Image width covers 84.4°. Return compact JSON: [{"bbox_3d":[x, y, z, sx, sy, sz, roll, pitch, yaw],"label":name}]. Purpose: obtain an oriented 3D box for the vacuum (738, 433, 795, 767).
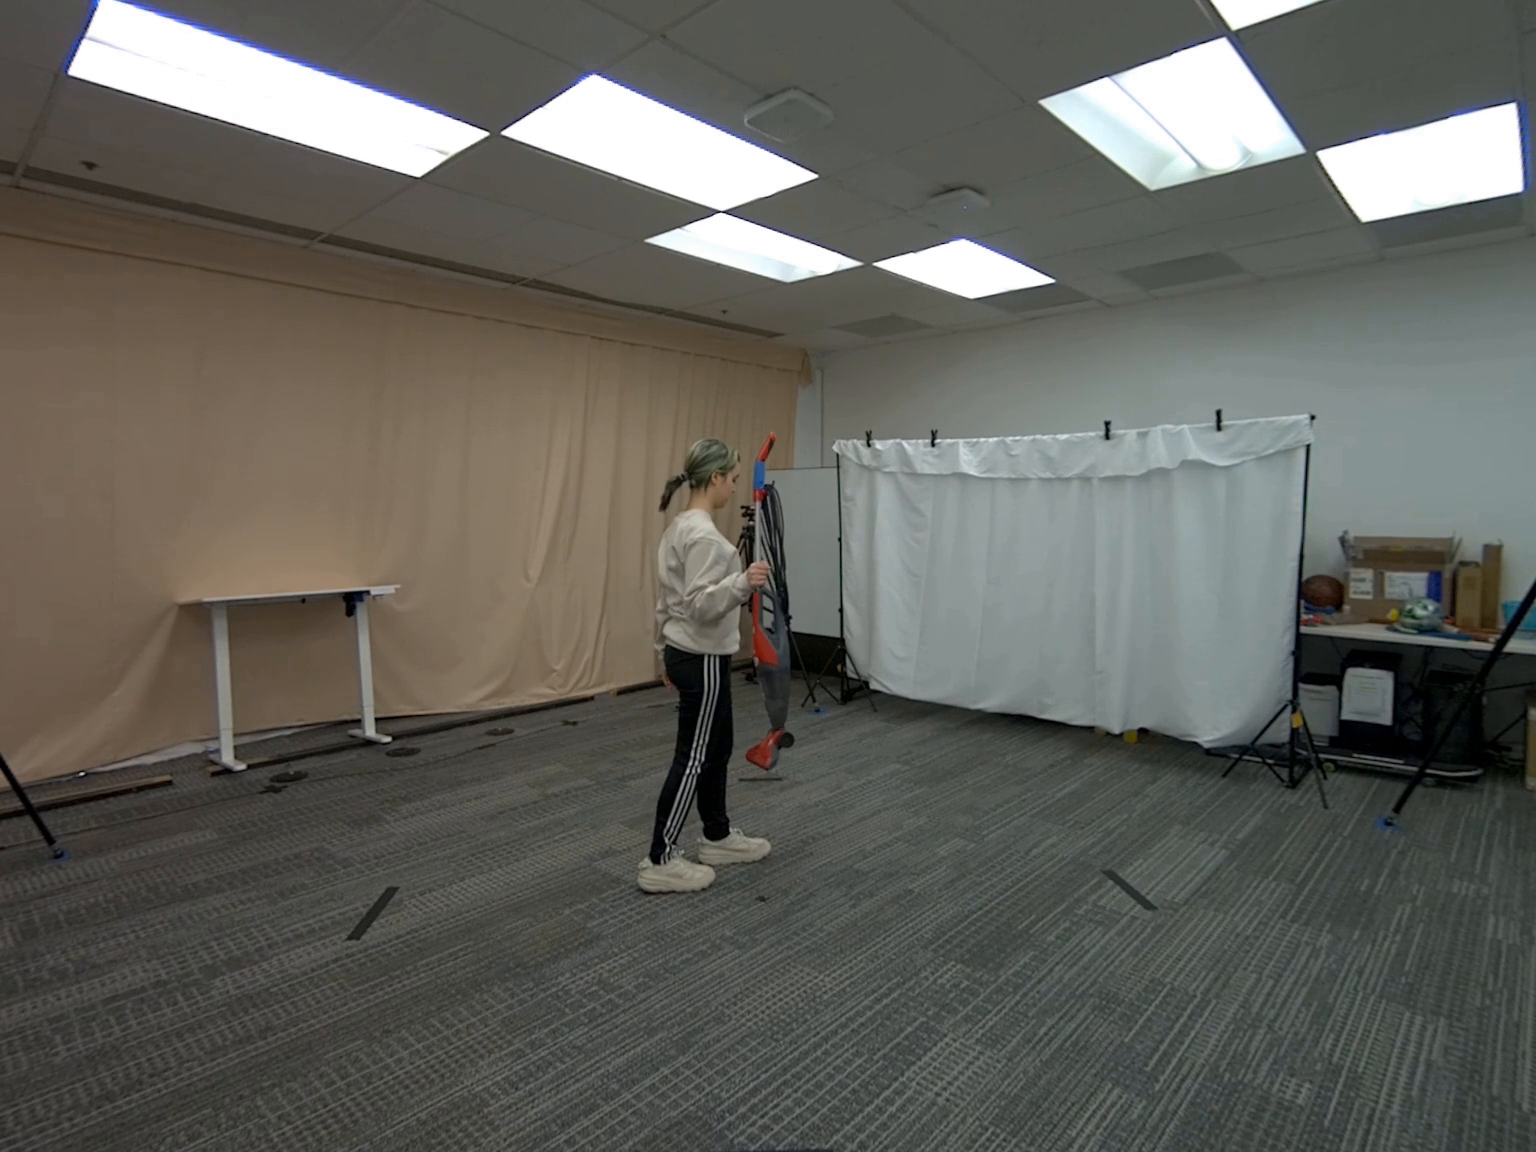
[{"bbox_3d":[0.018,0.051,2.816,0.142,1.053,0.255,1,-6,-14],"label":"vacuum"}]
